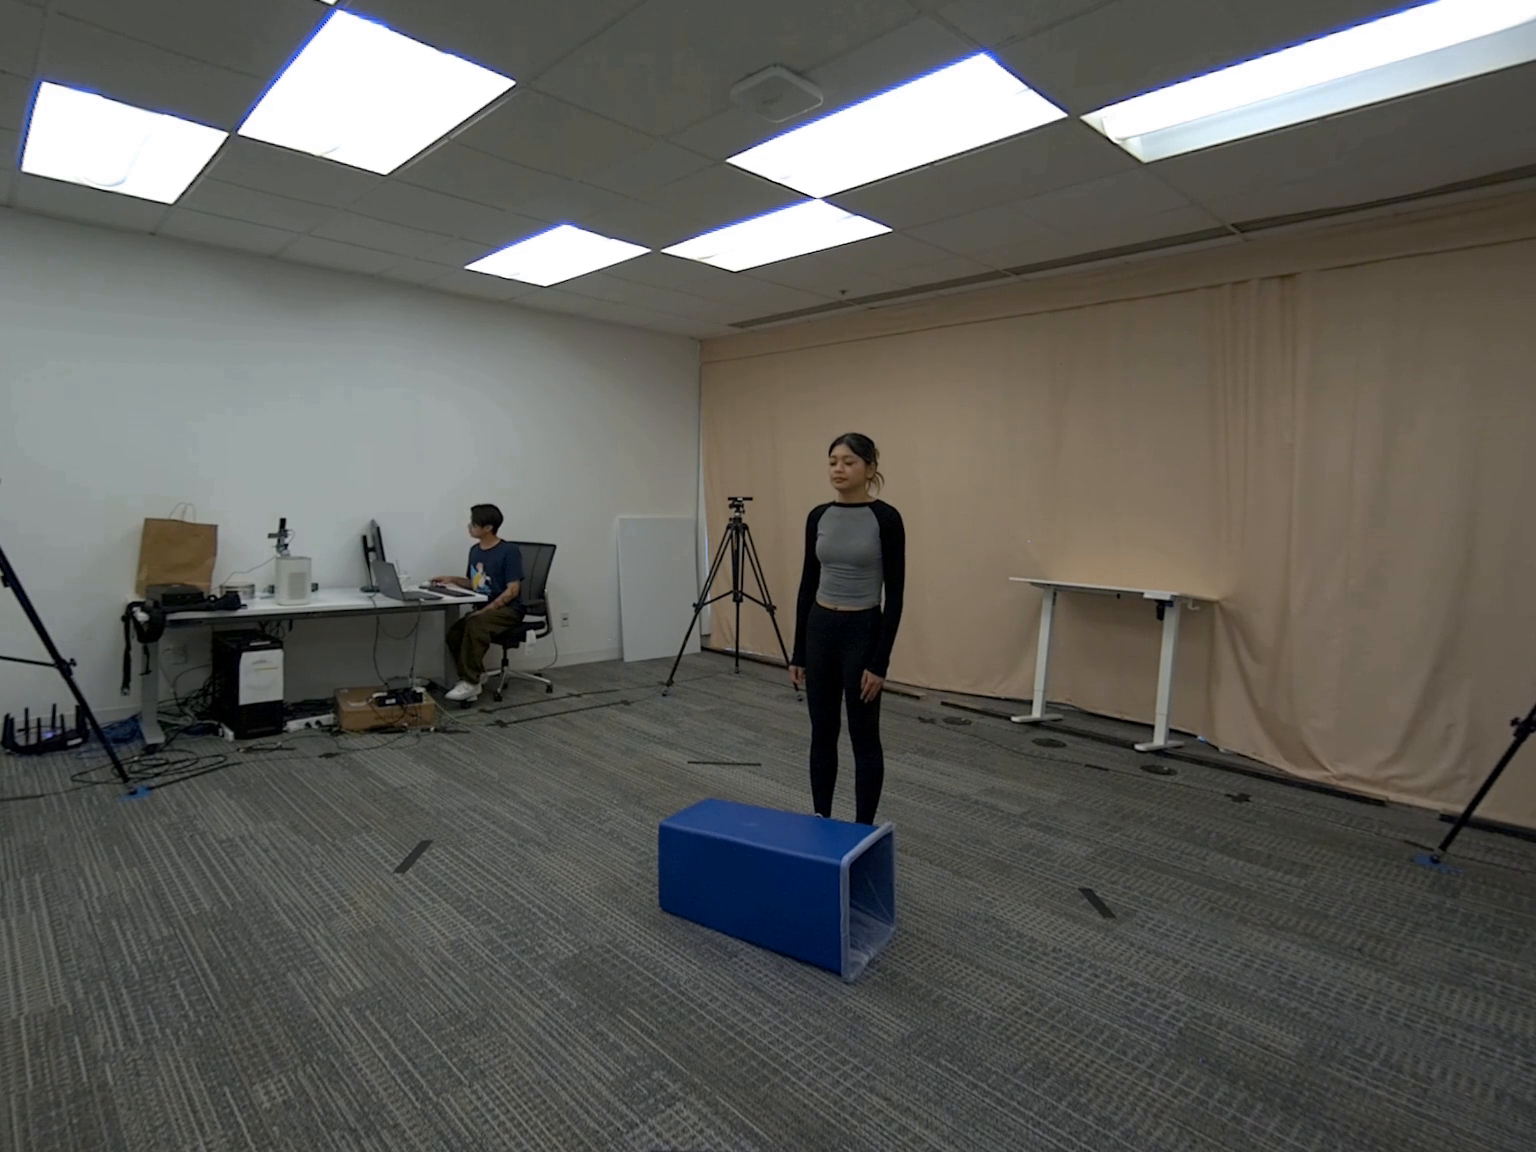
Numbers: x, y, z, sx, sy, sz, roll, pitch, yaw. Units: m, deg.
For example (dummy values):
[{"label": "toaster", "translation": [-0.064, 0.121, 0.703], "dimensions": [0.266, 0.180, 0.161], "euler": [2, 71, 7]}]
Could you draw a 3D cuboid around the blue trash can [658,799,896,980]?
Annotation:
[{"label": "blue trash can", "translation": [0.009, 0.973, 2.758], "dimensions": [0.730, 0.377, 0.366], "euler": [3, 5, 33]}]
